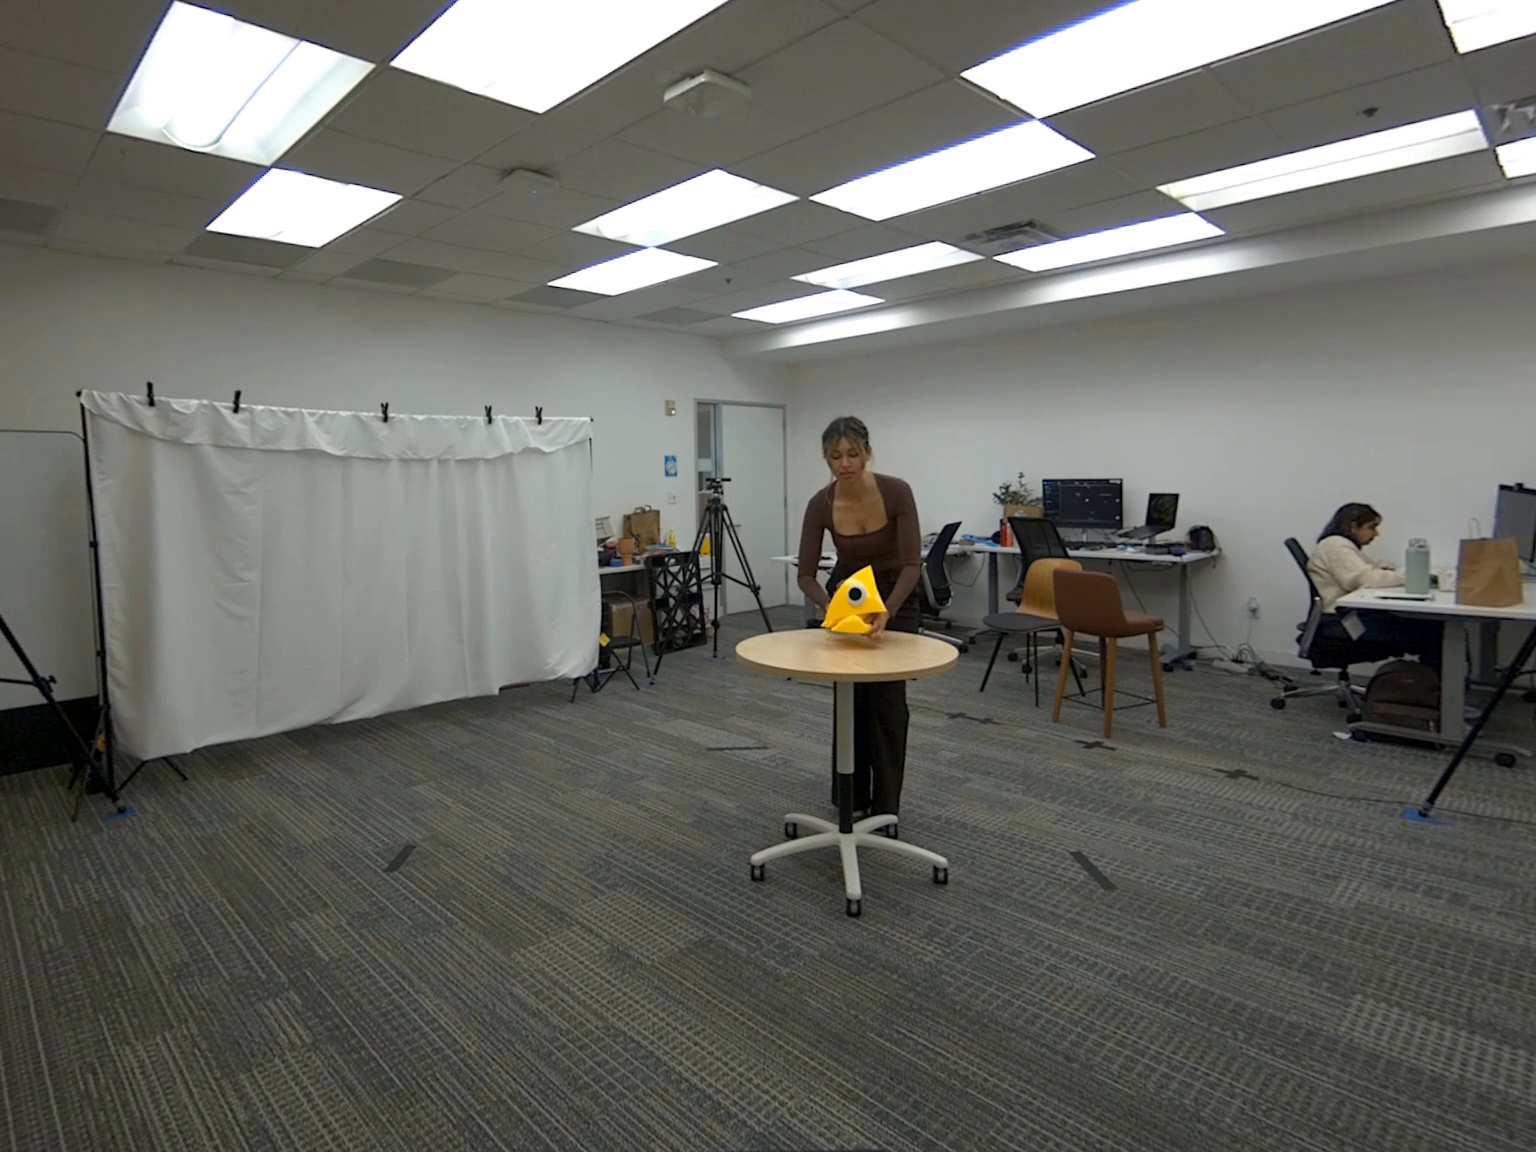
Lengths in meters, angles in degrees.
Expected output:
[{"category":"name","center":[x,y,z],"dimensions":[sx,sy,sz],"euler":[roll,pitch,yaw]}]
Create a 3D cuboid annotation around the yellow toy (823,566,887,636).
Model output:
[{"category":"yellow toy","center":[0.300,0.074,3.041],"dimensions":[0.190,0.230,0.208],"euler":[3,2,-15]}]
